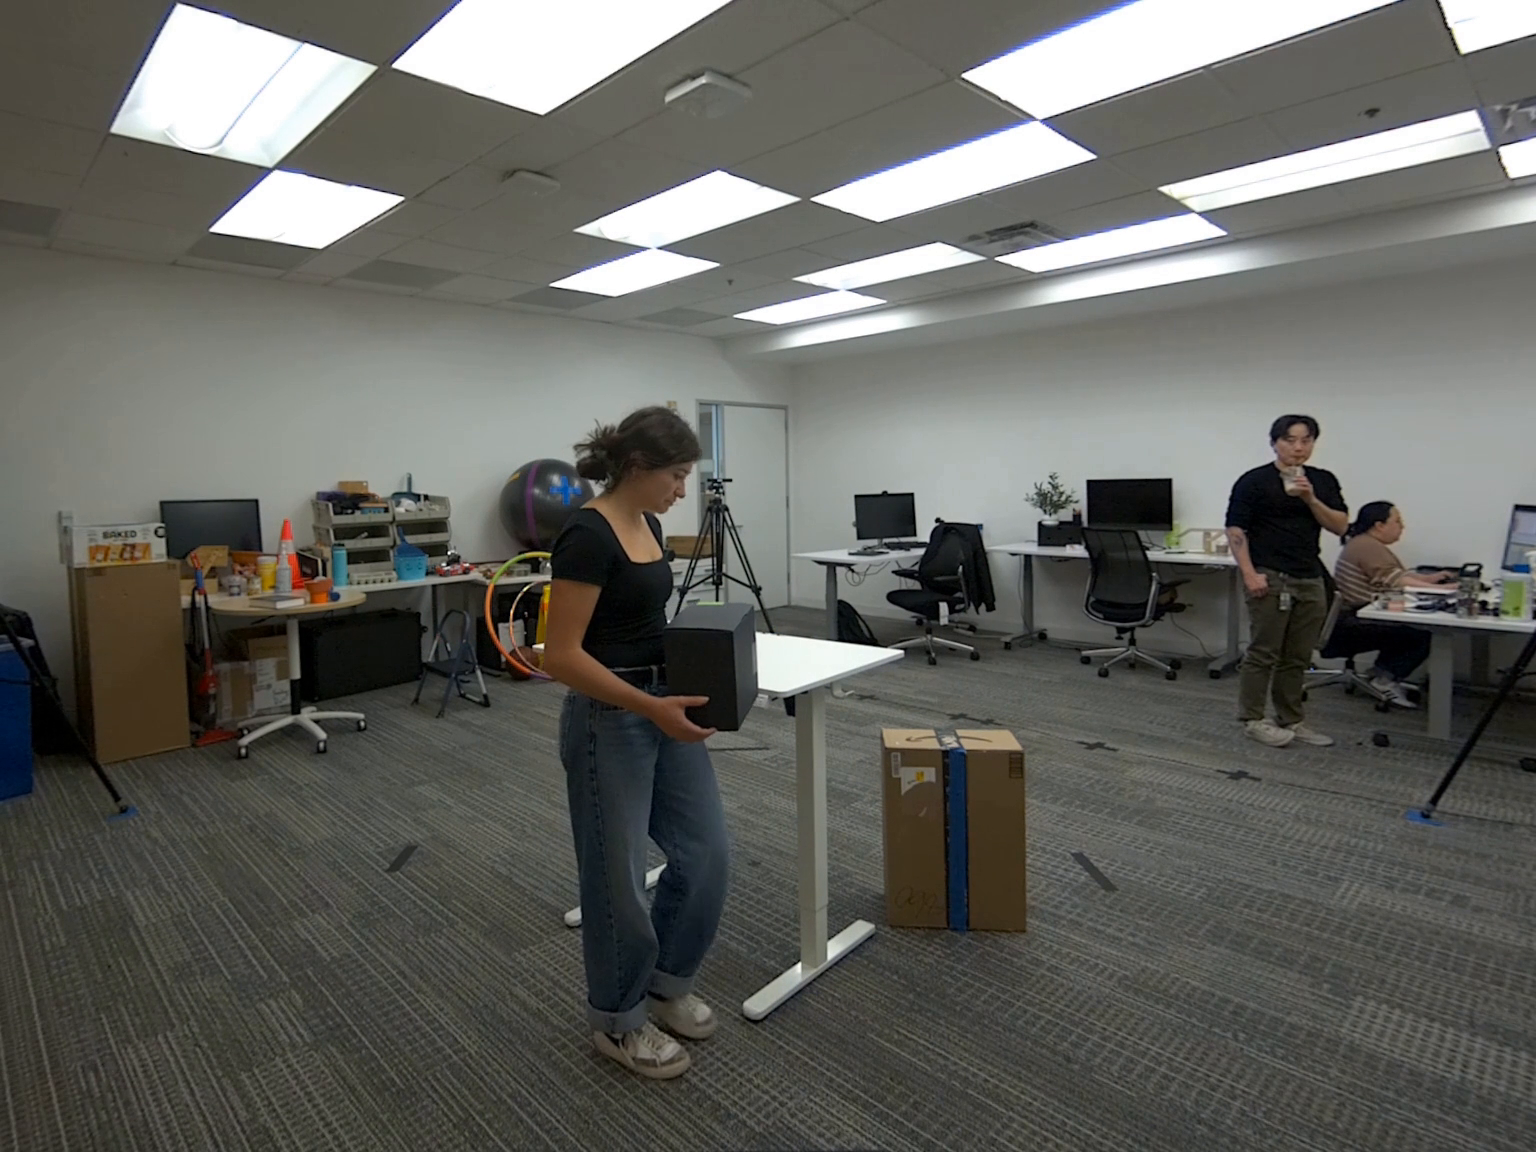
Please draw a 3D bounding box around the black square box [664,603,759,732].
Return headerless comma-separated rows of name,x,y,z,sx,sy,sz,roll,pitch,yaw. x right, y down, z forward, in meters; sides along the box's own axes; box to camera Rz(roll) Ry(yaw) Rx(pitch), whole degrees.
black square box,-0.132,0.196,1.920,0.158,0.226,0.216,1,11,11
